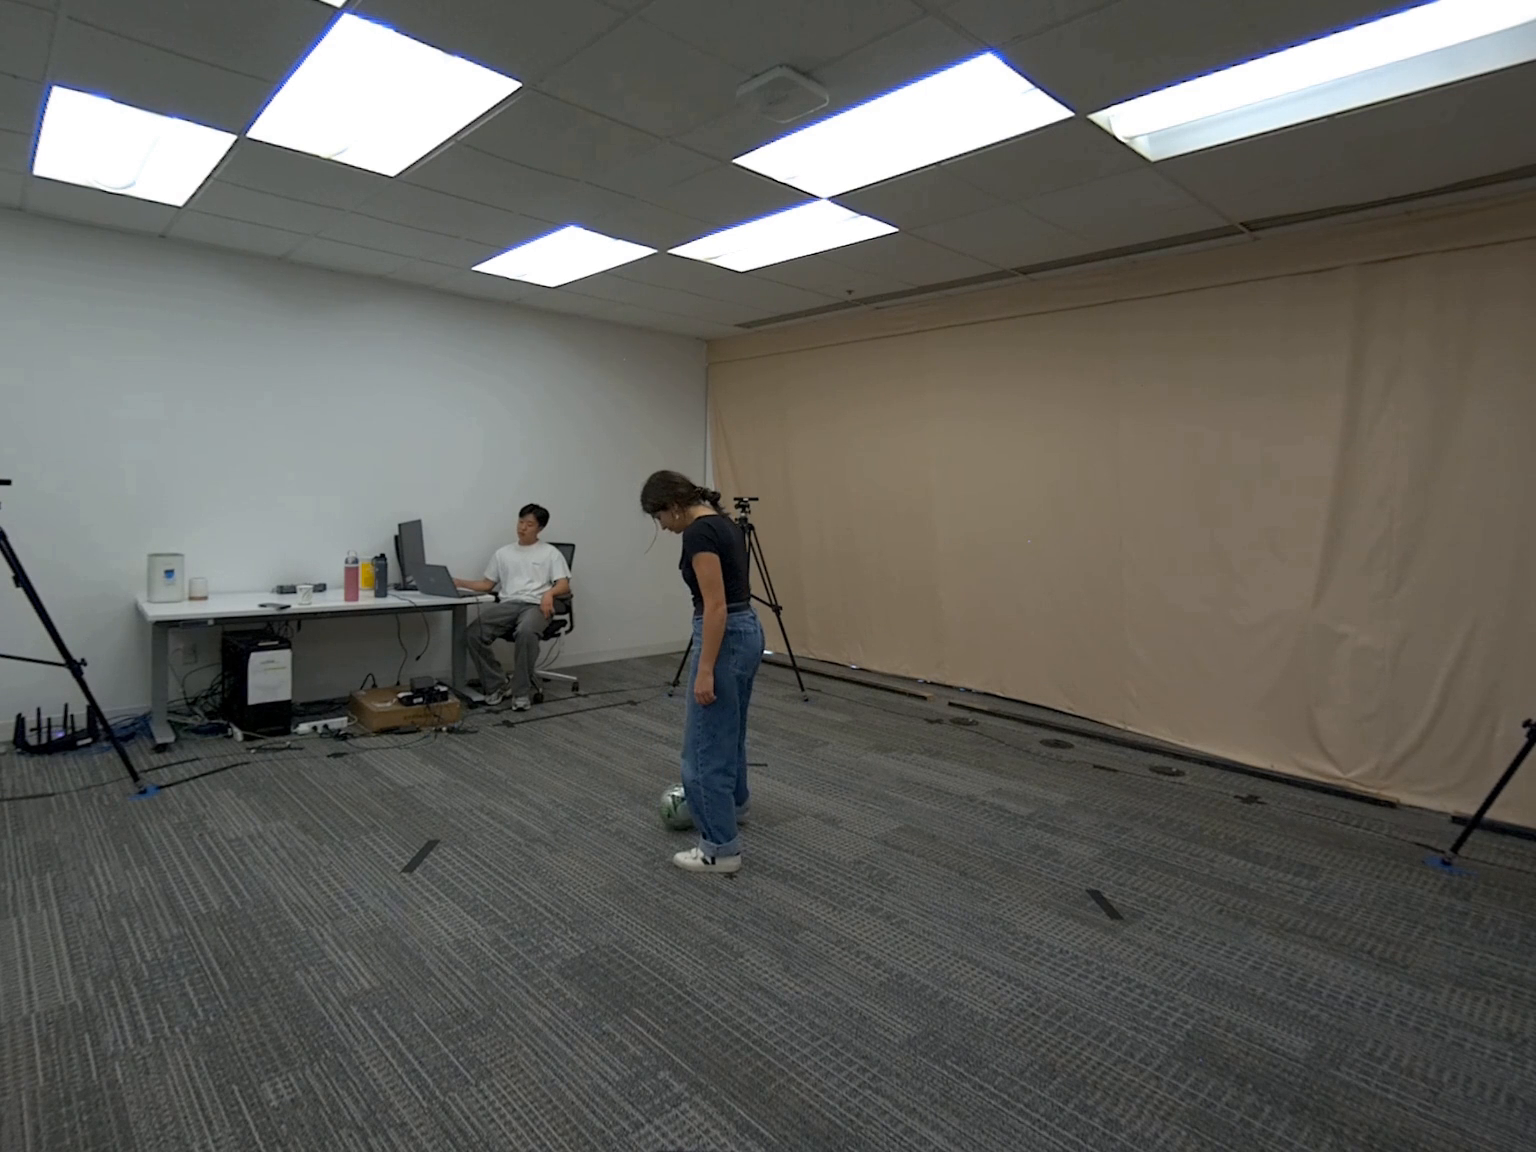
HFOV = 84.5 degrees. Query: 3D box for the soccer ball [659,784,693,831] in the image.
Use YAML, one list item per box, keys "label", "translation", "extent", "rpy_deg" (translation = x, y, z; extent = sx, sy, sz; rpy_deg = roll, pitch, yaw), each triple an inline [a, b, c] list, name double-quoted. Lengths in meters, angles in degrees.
- label: "soccer ball"
  translation: [-0.379, 0.970, 3.540]
  extent: [0.187, 0.187, 0.188]
  rpy_deg: [1, 4, -1]
